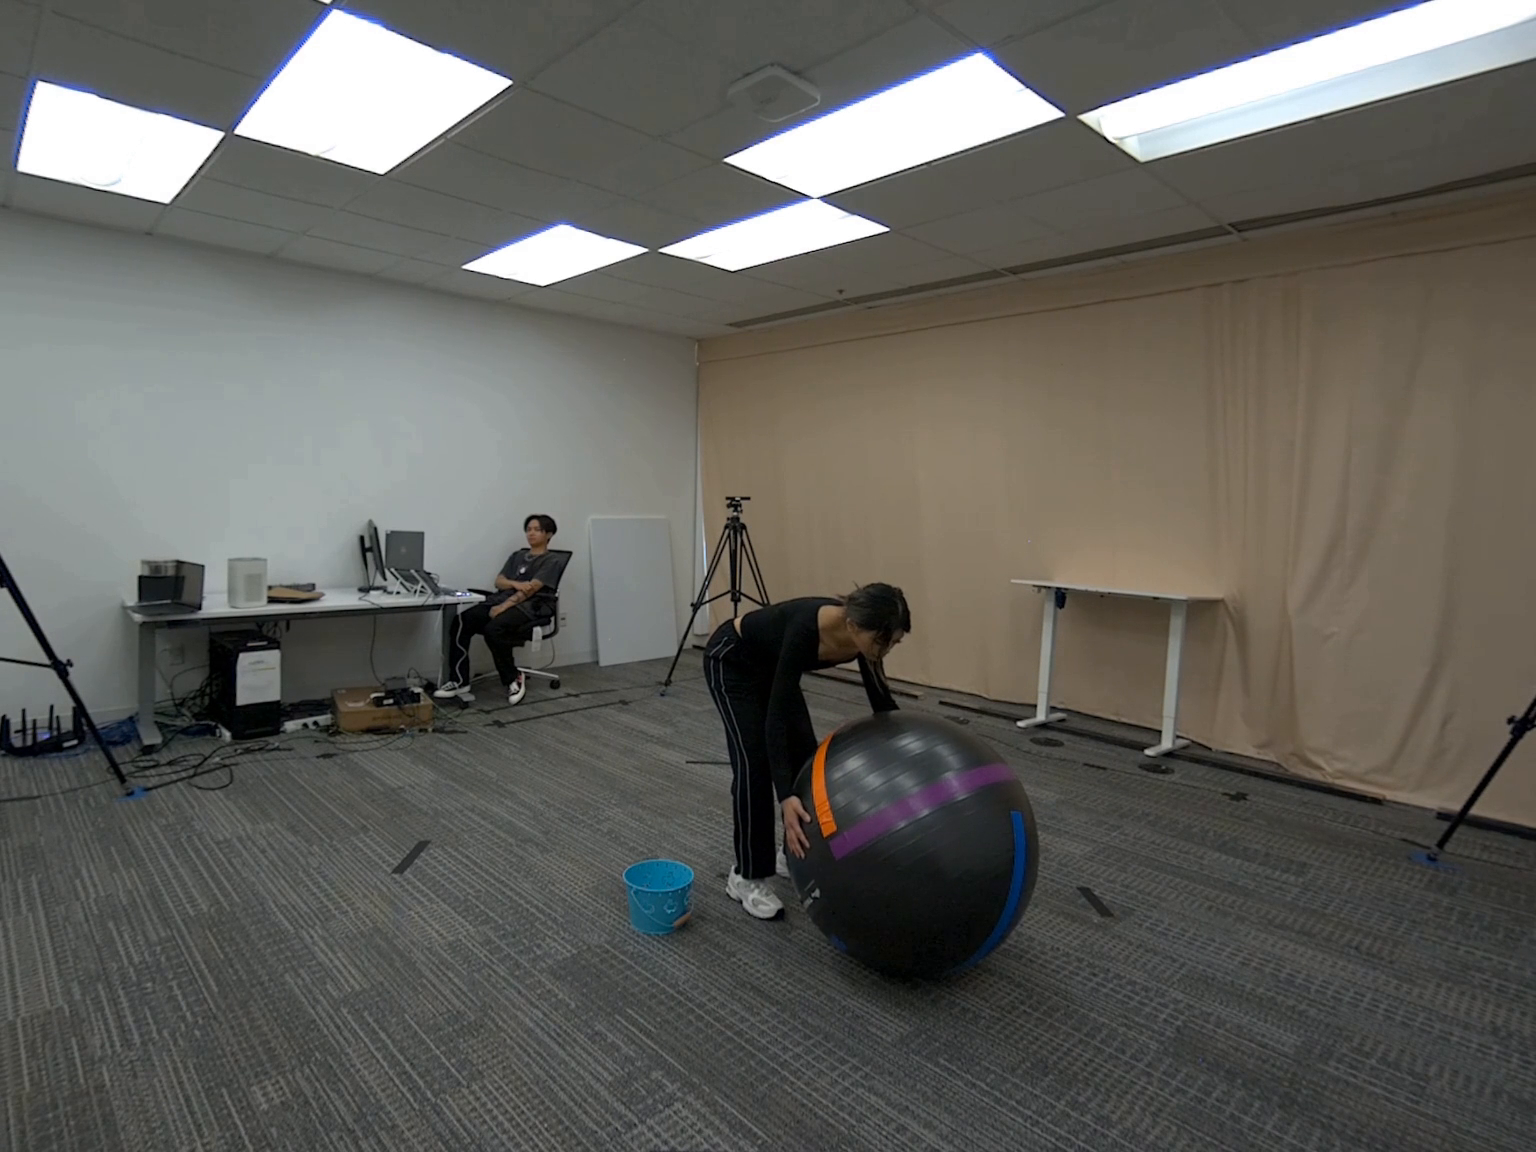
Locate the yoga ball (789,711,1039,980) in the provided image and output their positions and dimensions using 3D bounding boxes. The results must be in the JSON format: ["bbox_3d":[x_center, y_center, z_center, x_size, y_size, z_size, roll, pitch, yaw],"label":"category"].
[{"bbox_3d":[0.435,0.800,2.550,0.757,0.756,0.761,1,4,-1],"label":"yoga ball"}]
